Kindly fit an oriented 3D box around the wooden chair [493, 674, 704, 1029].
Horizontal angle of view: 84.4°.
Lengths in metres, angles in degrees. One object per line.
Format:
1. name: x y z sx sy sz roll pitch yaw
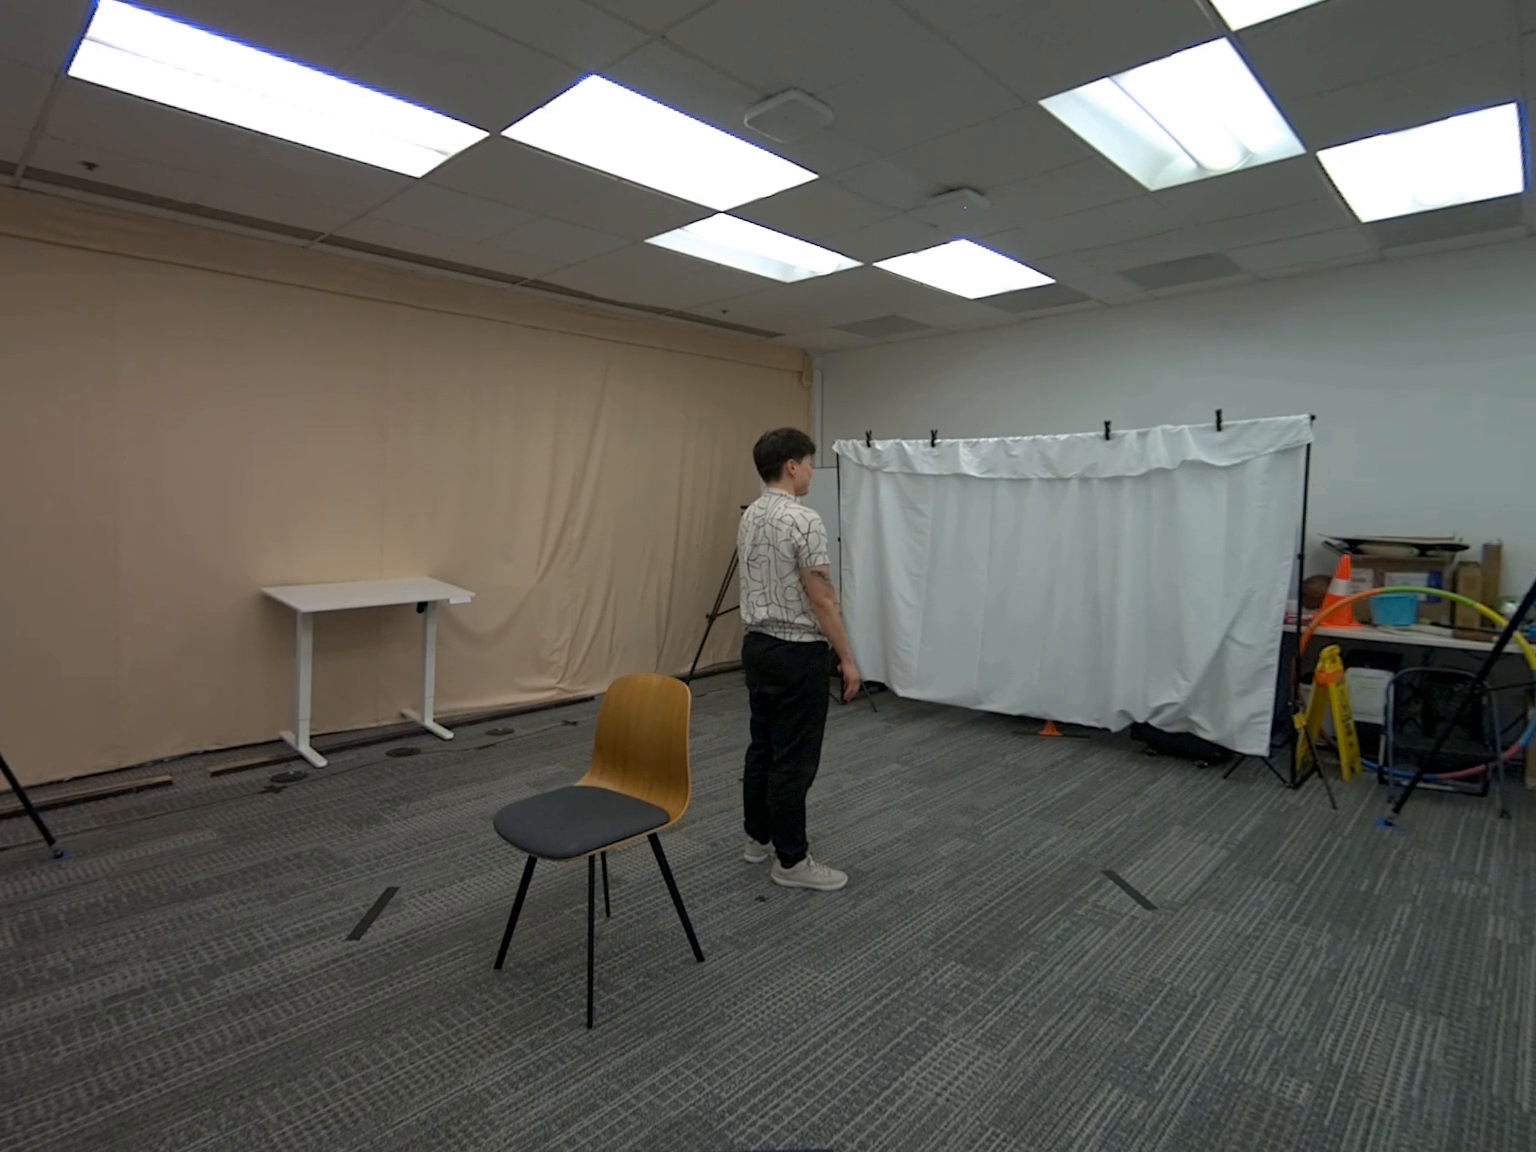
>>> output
1. wooden chair: -0.511 0.758 2.521 0.494 0.877 0.506 3 0 40
